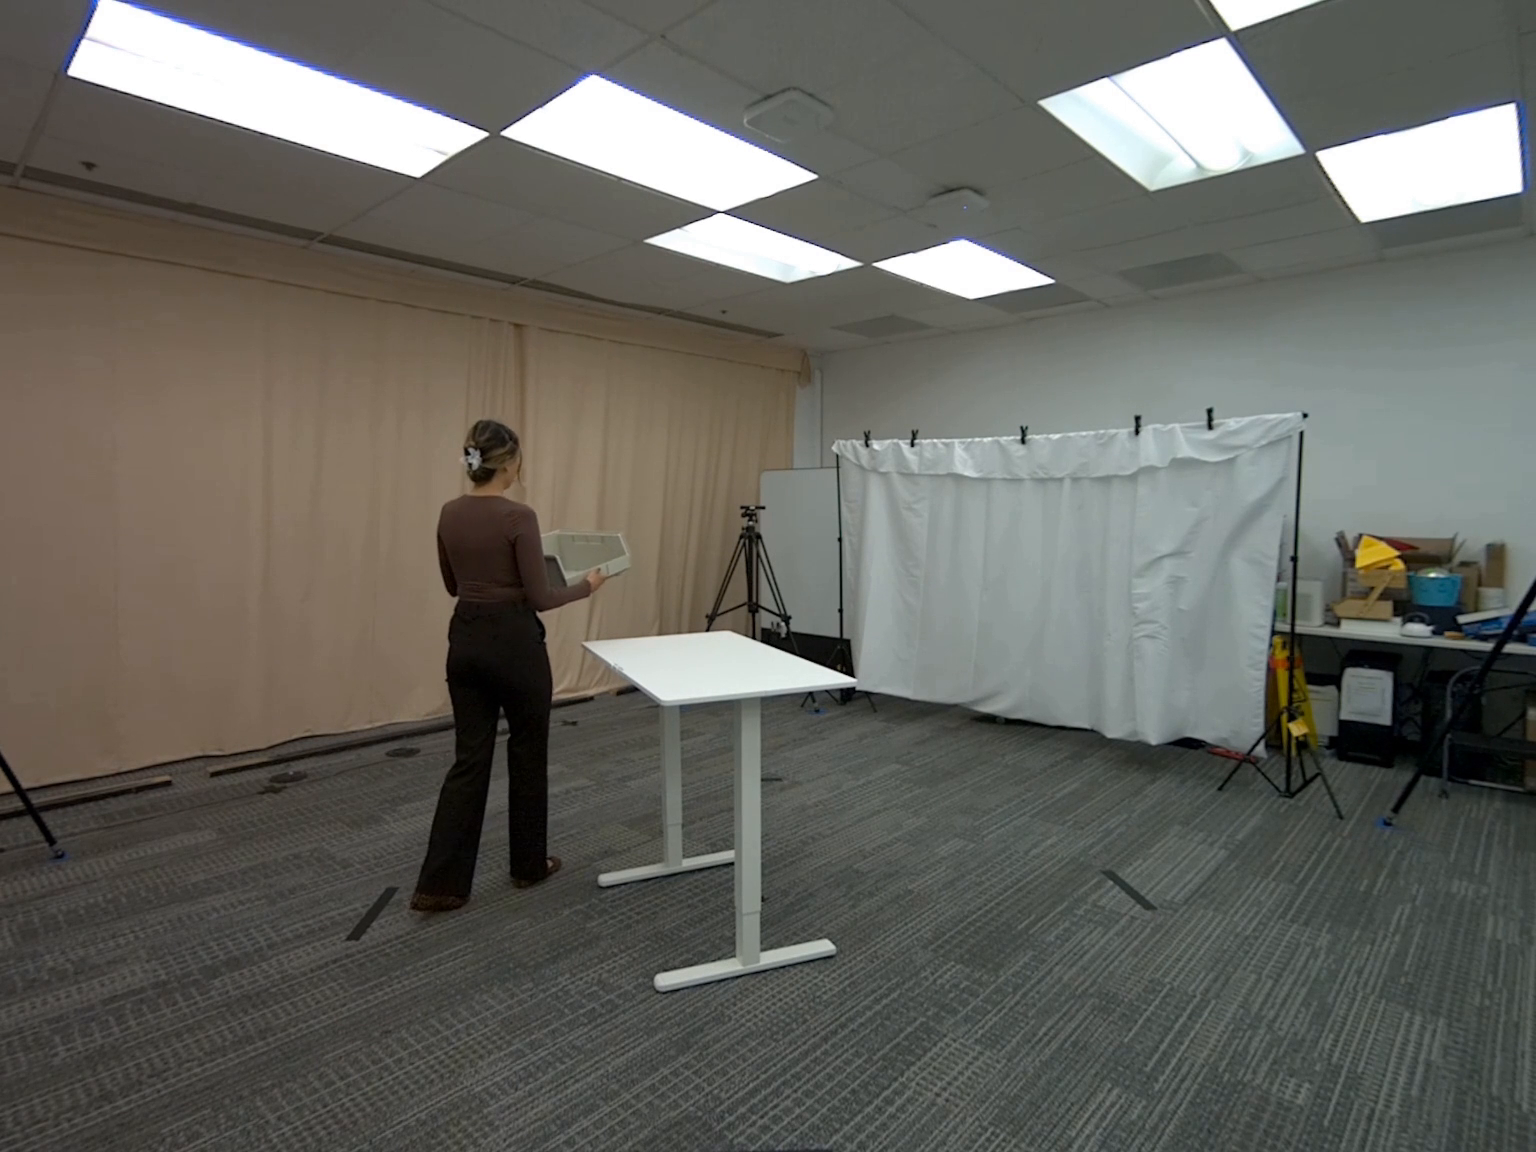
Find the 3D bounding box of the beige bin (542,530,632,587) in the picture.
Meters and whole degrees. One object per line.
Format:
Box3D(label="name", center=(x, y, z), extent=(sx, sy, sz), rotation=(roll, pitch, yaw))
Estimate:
Box3D(label="beige bin", center=(-0.810, -0.047, 3.355), extent=(0.388, 0.187, 0.415), rotation=(1, 15, 28))
